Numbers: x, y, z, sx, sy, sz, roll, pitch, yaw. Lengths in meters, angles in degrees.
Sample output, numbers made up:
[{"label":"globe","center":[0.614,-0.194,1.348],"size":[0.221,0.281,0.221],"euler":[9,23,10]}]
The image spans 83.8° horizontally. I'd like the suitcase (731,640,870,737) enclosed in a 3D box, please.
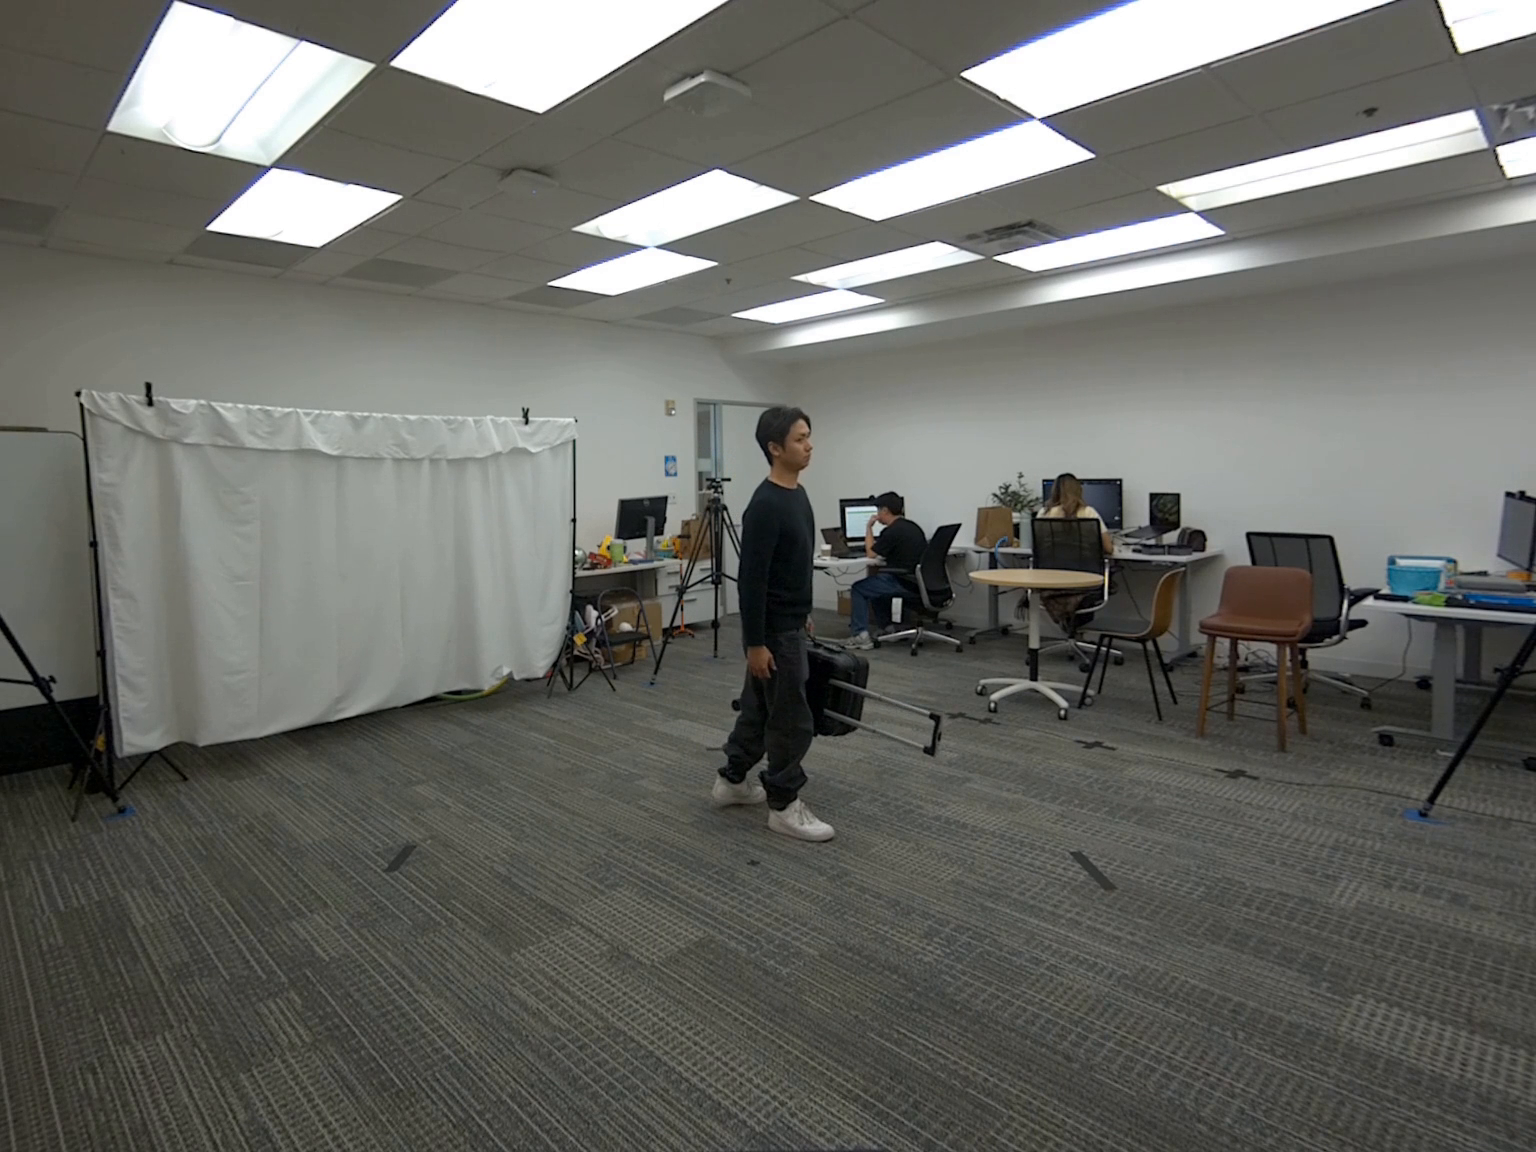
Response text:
[{"label":"suitcase","center":[0.315,0.497,3.579],"size":[1.011,0.383,0.249],"euler":[12,4,39]}]
